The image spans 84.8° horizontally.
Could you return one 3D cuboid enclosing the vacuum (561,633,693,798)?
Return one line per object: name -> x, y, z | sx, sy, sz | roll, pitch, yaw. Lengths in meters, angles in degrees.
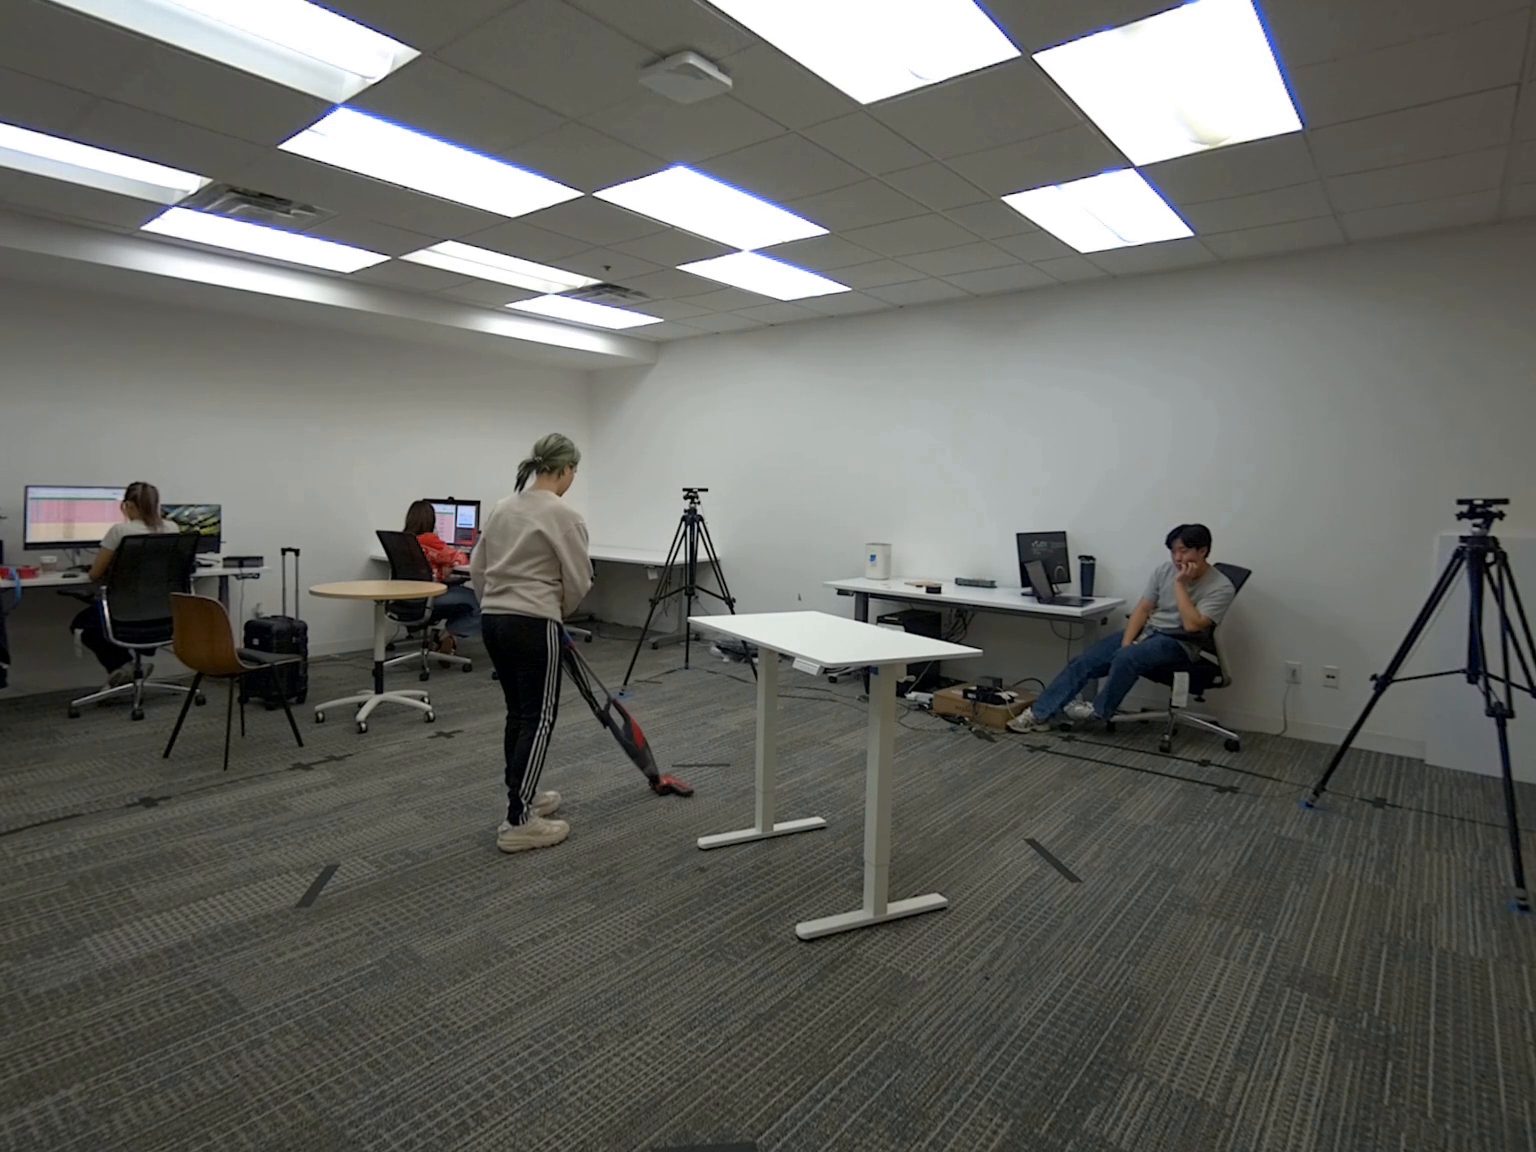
vacuum -> -0.726, 0.588, 3.769 | 0.259, 1.022, 0.144 | -8, 33, 52
